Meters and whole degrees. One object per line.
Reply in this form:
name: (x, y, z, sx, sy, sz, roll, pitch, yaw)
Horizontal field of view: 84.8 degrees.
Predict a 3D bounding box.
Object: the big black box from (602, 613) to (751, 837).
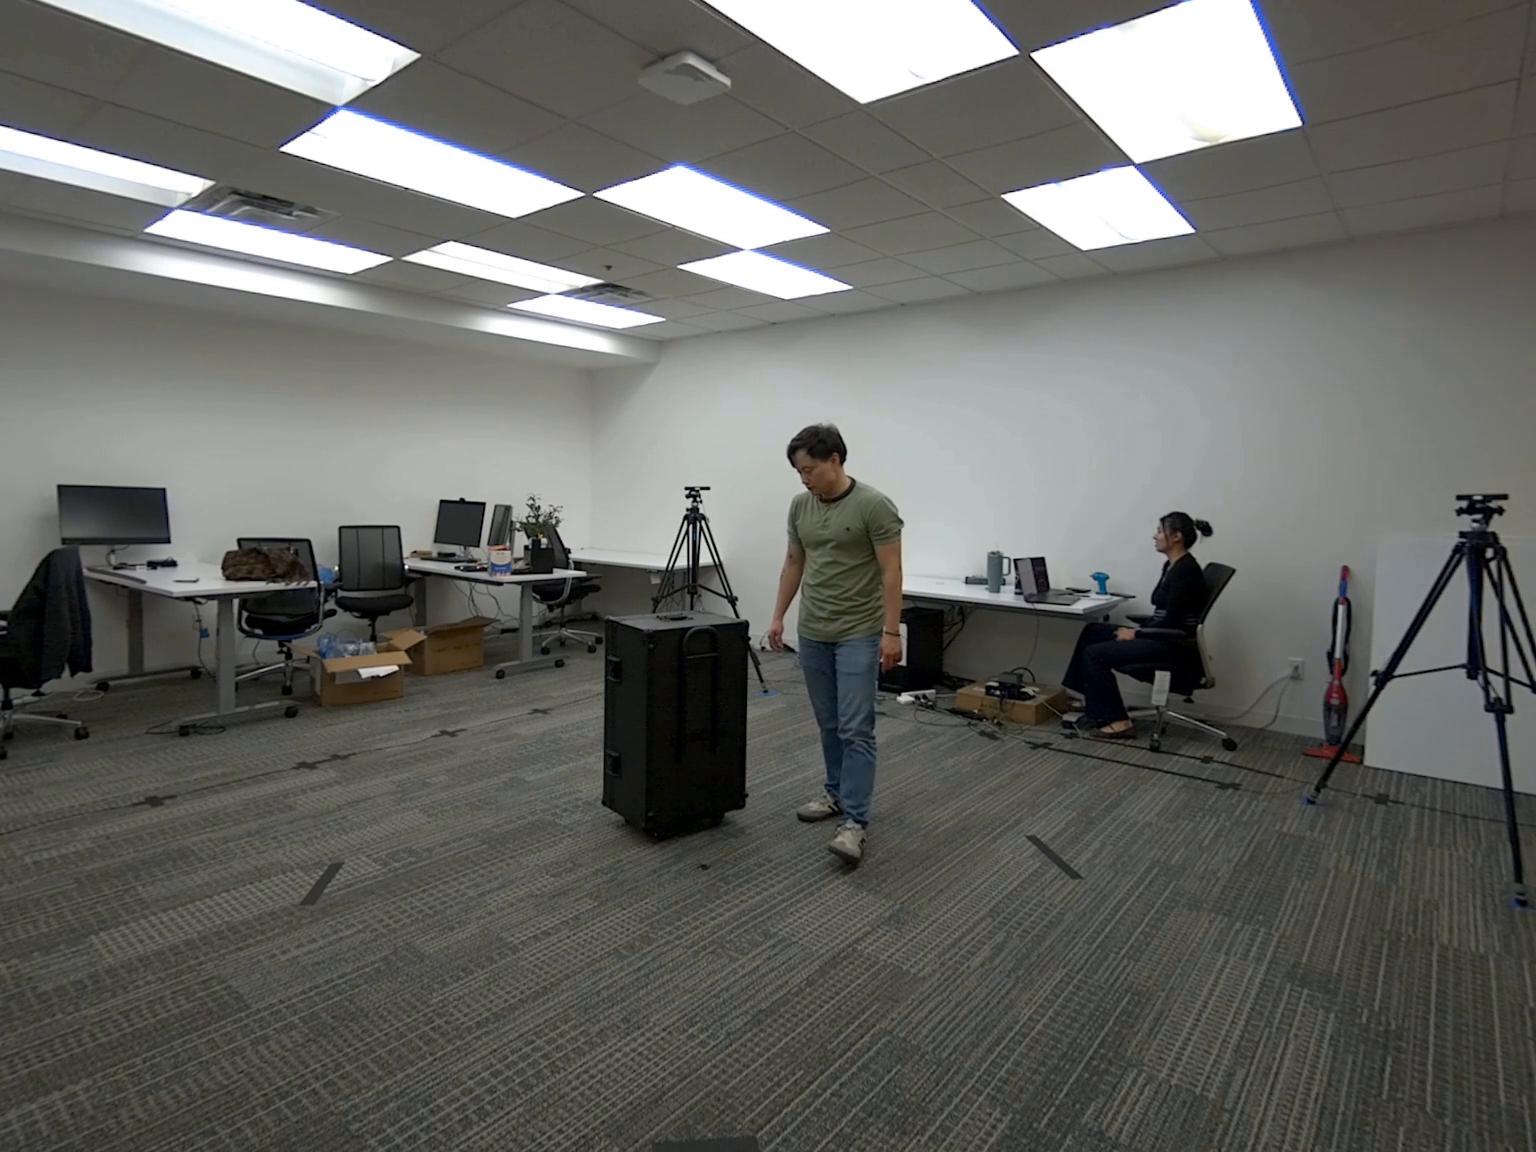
big black box: (-0.384, 0.598, 3.502, 0.506, 0.858, 0.409, -1, 5, -36)
